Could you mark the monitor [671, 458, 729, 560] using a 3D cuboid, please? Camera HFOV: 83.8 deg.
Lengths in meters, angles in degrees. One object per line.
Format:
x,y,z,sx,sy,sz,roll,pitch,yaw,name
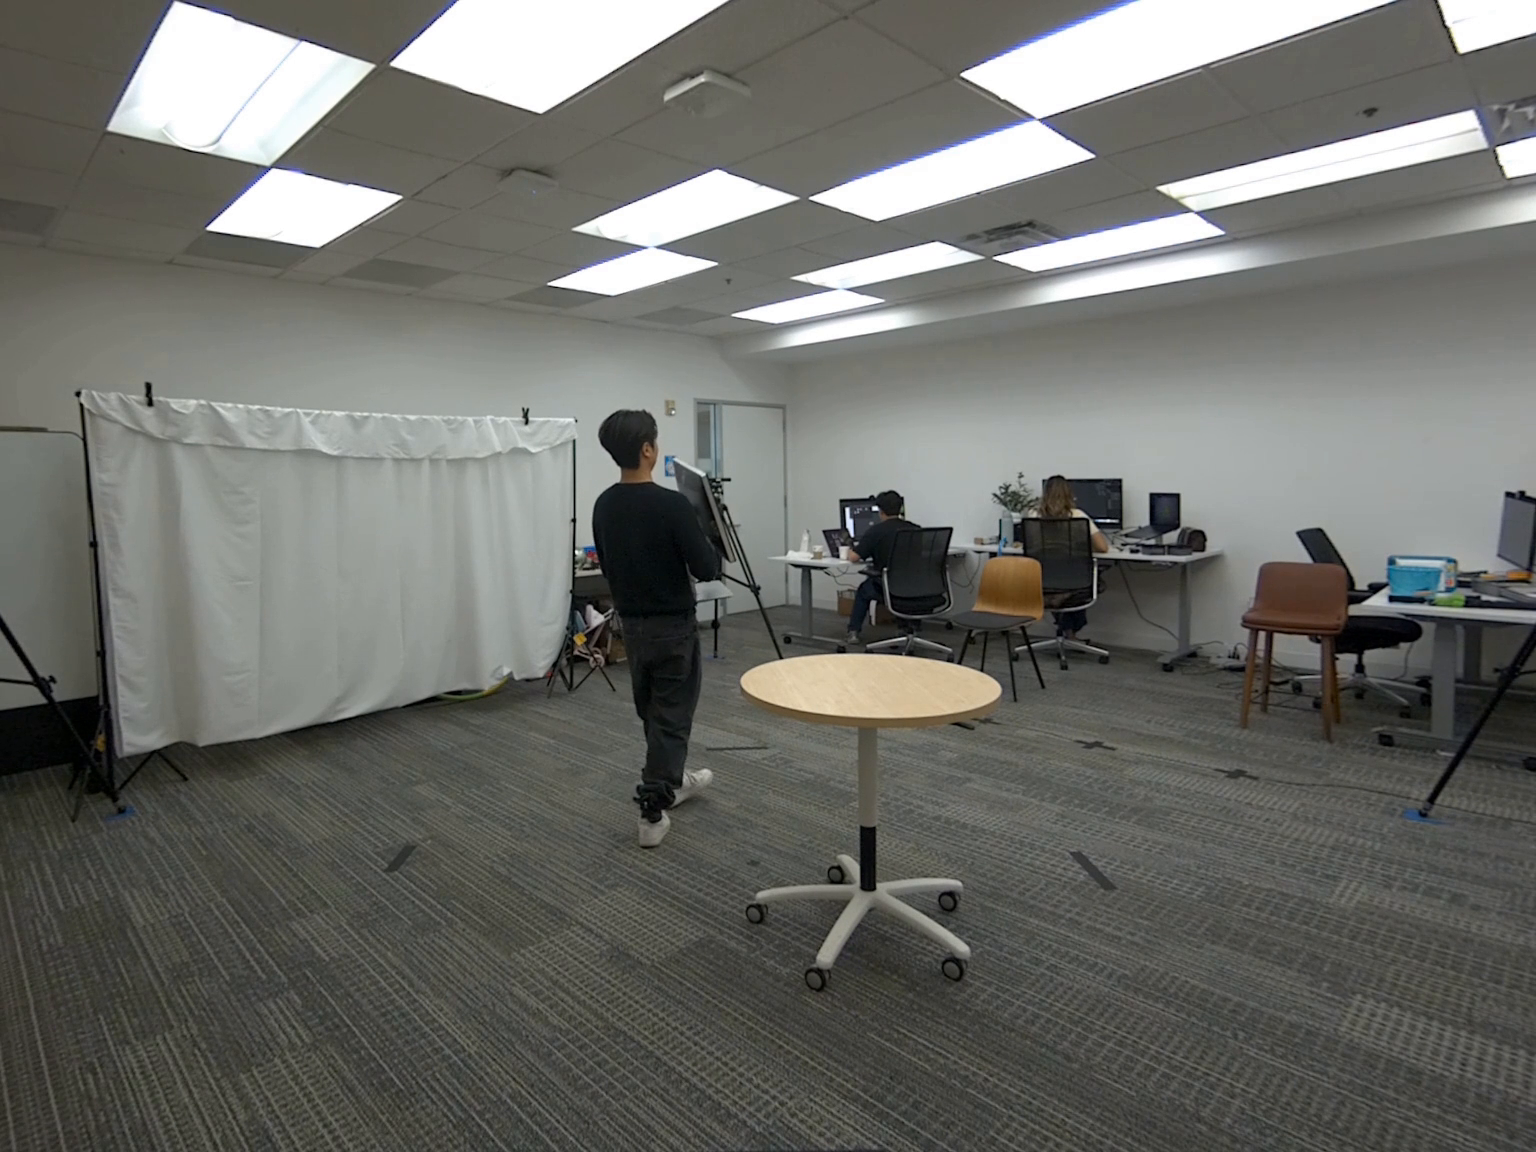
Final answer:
-0.291,-0.198,3.507,0.172,0.510,0.543,-4,13,-17,monitor
